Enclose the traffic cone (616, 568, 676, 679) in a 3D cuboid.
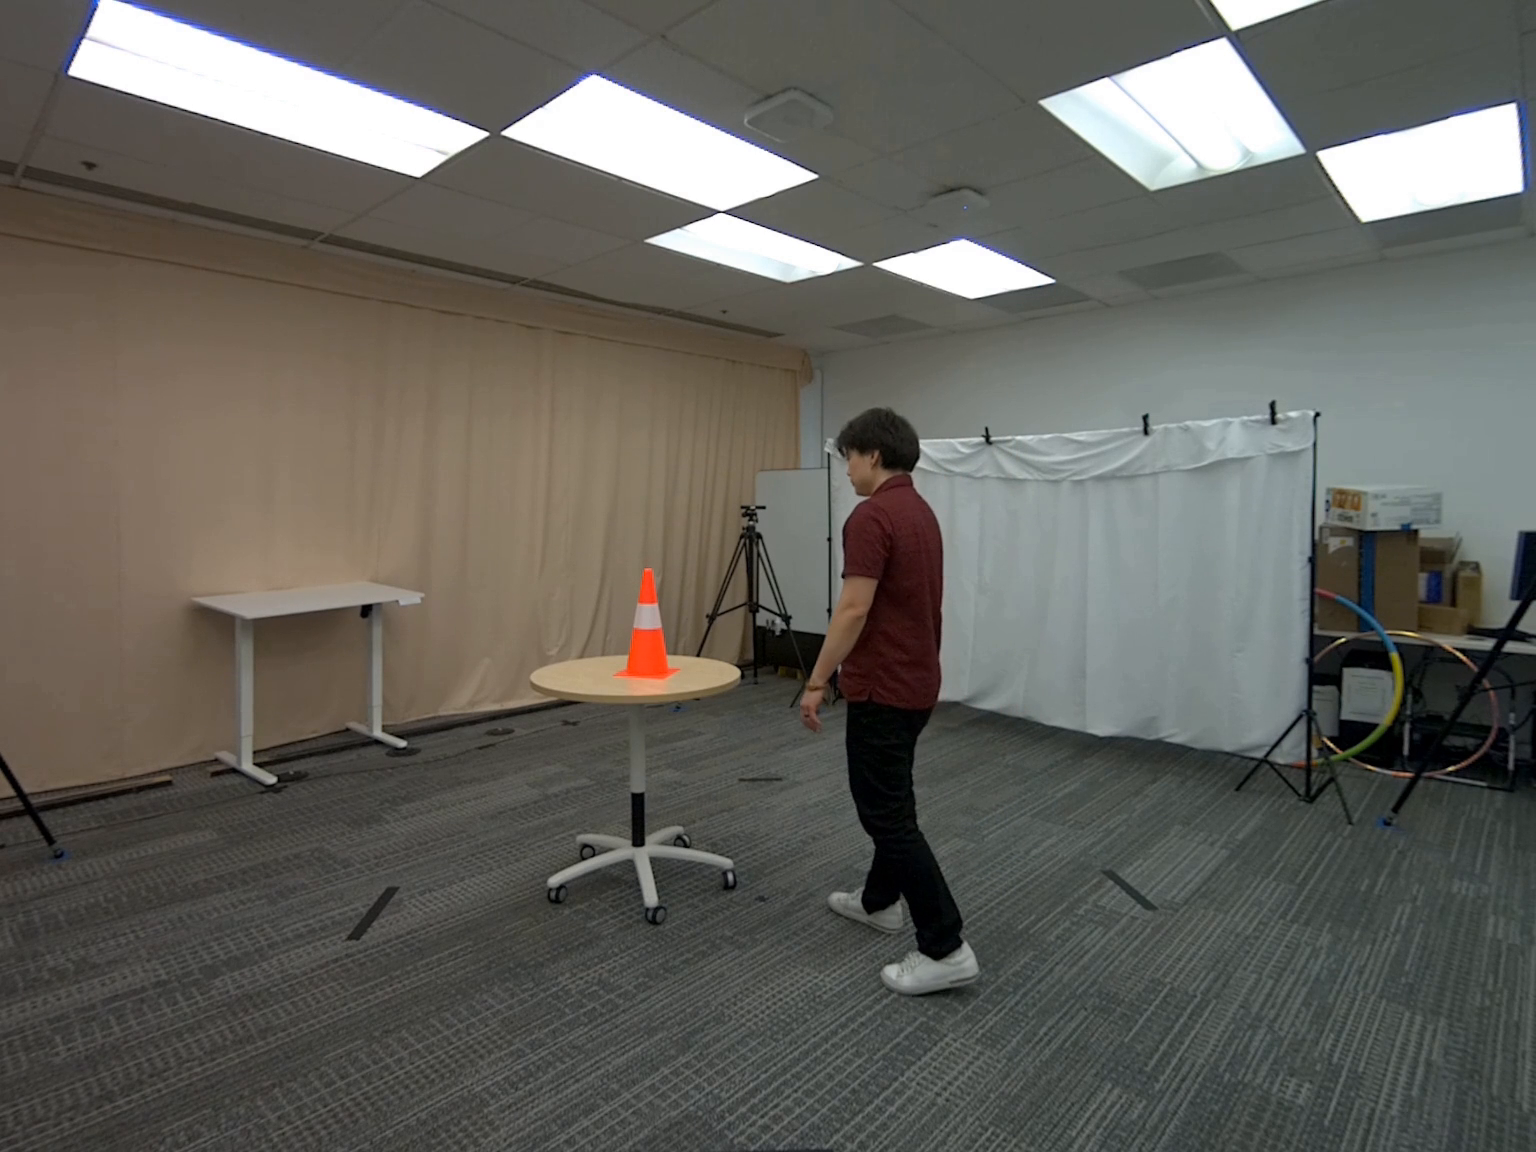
[{"bbox_3d":[-0.445,0.168,3.088,0.209,0.383,0.200,0,2,17],"label":"traffic cone"}]
